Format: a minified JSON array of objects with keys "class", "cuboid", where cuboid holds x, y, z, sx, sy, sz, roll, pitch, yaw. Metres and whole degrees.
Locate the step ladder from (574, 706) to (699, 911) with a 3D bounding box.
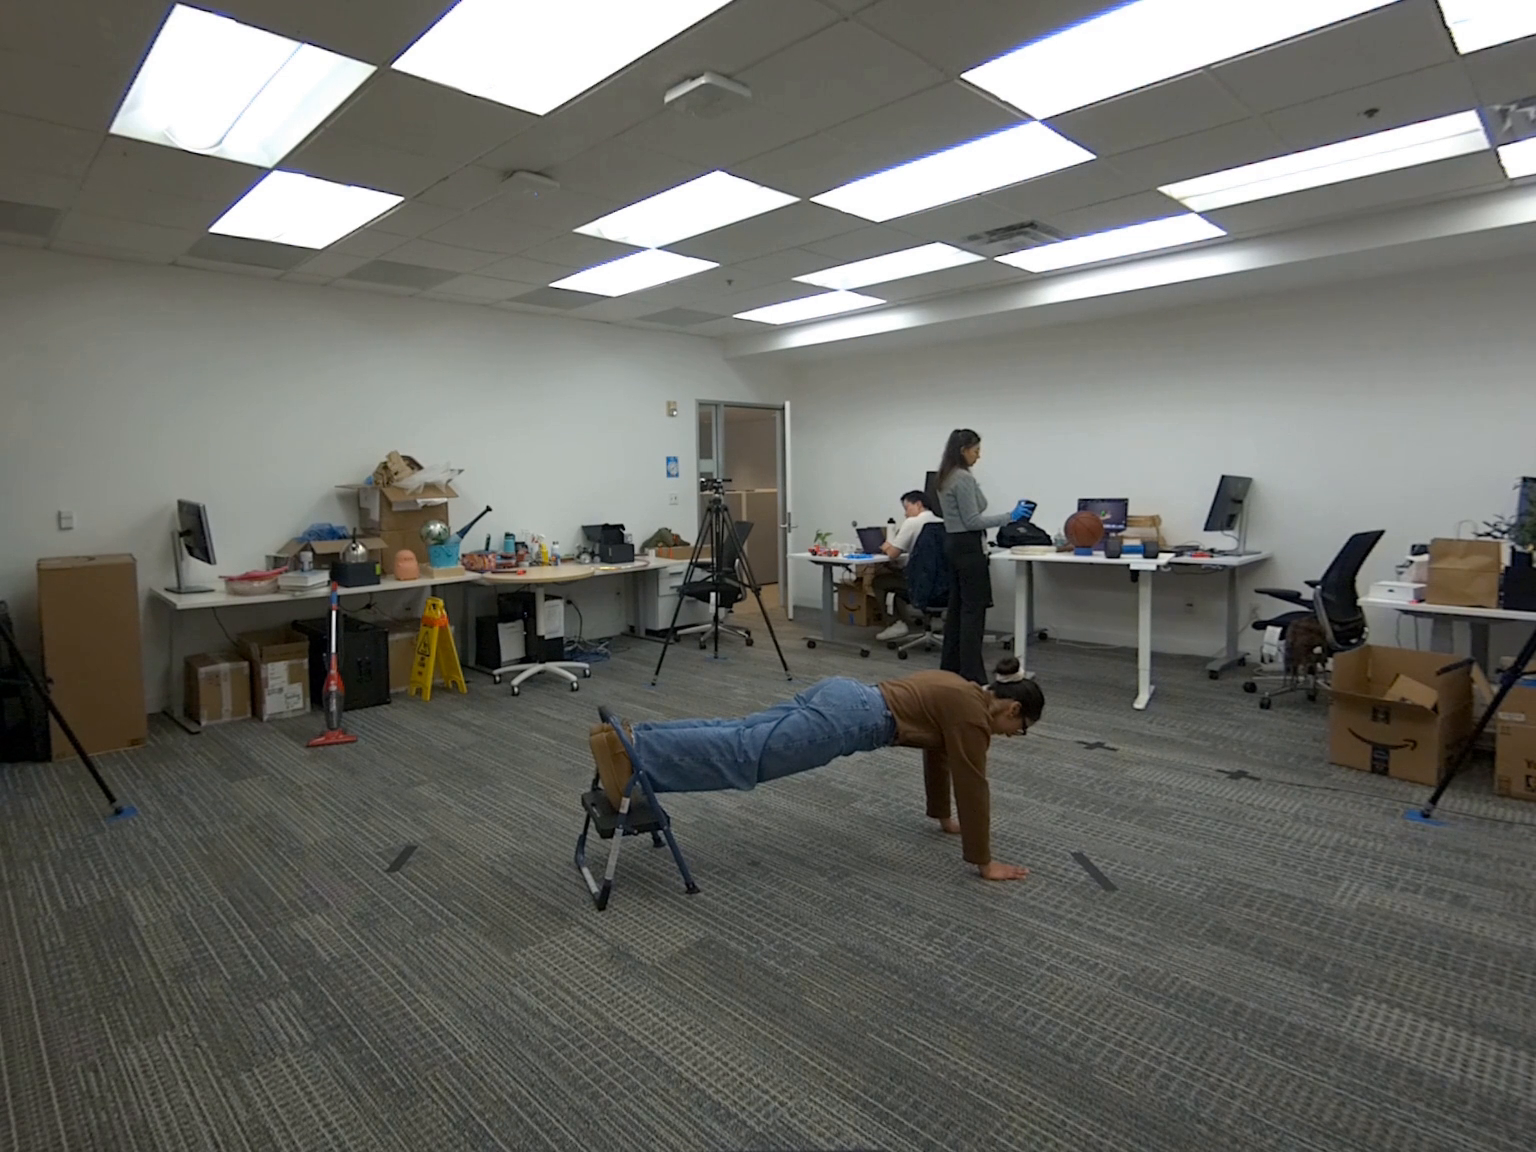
[{"class":"step ladder","cuboid":[-0.477,0.762,3.009,0.342,0.604,0.441,-3,5,-24]}]
